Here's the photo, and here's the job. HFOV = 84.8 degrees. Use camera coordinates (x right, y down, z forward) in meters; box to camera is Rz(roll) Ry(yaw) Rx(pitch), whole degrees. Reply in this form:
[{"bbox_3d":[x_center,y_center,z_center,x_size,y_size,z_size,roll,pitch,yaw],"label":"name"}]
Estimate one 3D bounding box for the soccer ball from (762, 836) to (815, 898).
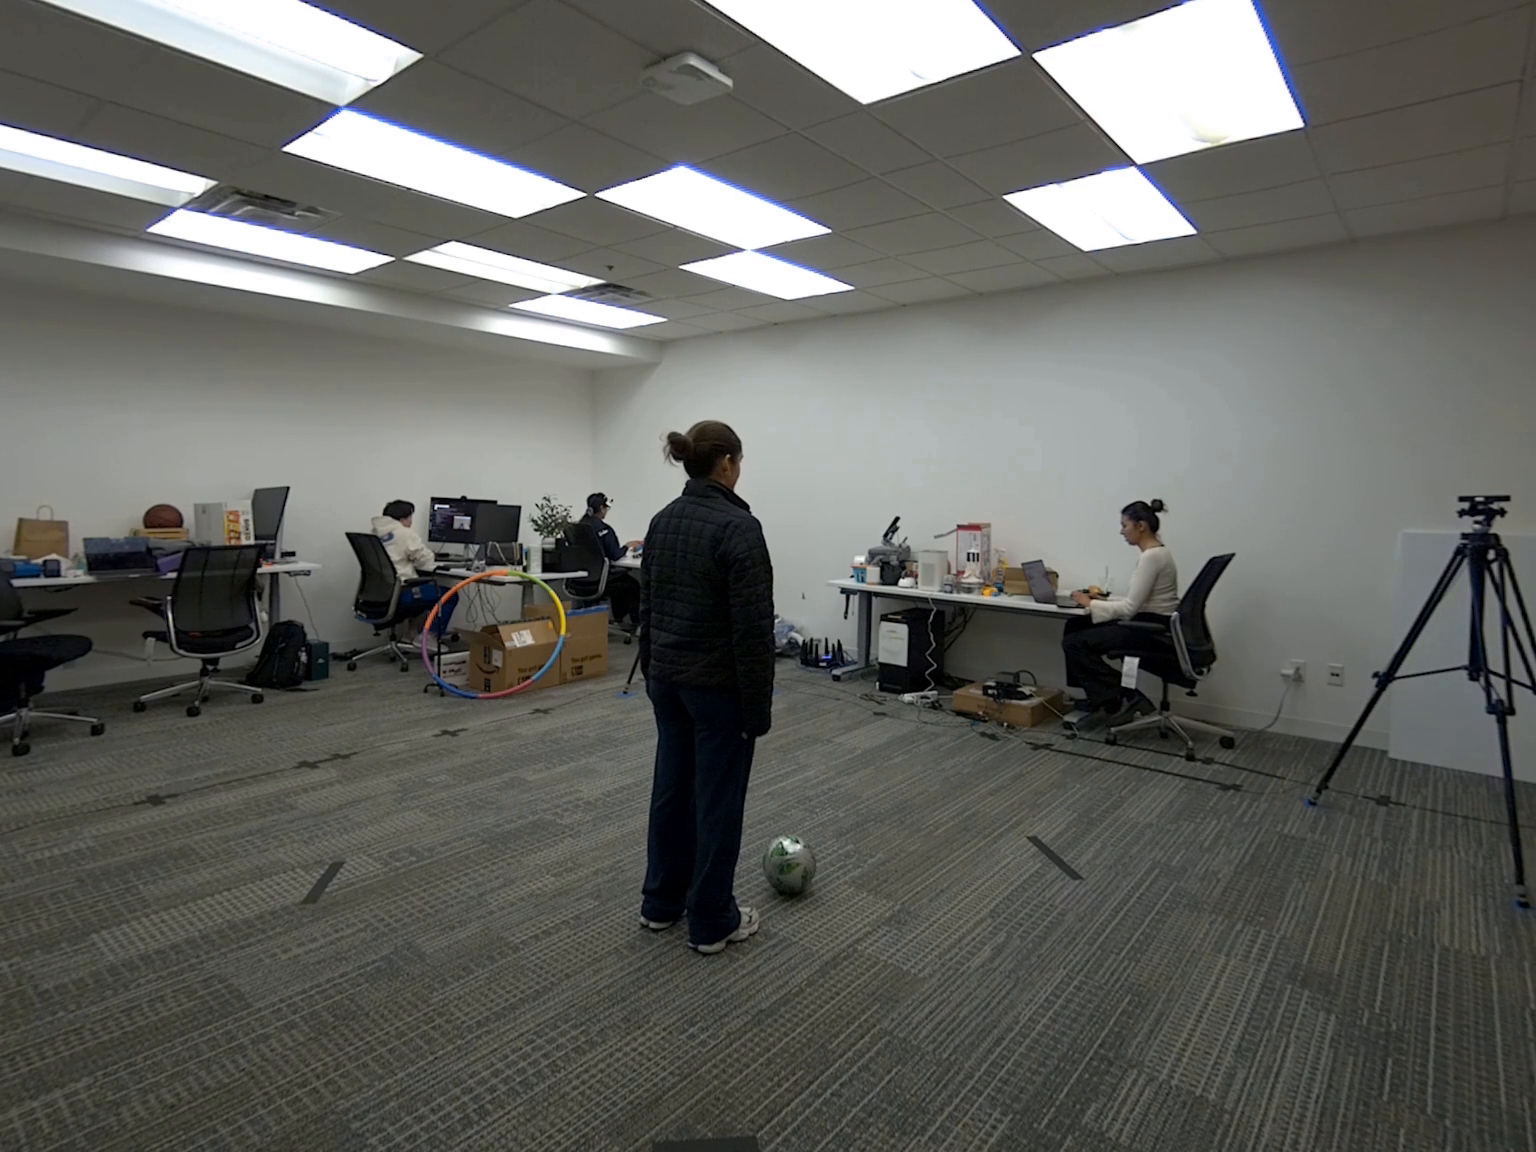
[{"bbox_3d":[0.065,0.988,2.945,0.187,0.187,0.188,1,4,-2],"label":"soccer ball"}]
